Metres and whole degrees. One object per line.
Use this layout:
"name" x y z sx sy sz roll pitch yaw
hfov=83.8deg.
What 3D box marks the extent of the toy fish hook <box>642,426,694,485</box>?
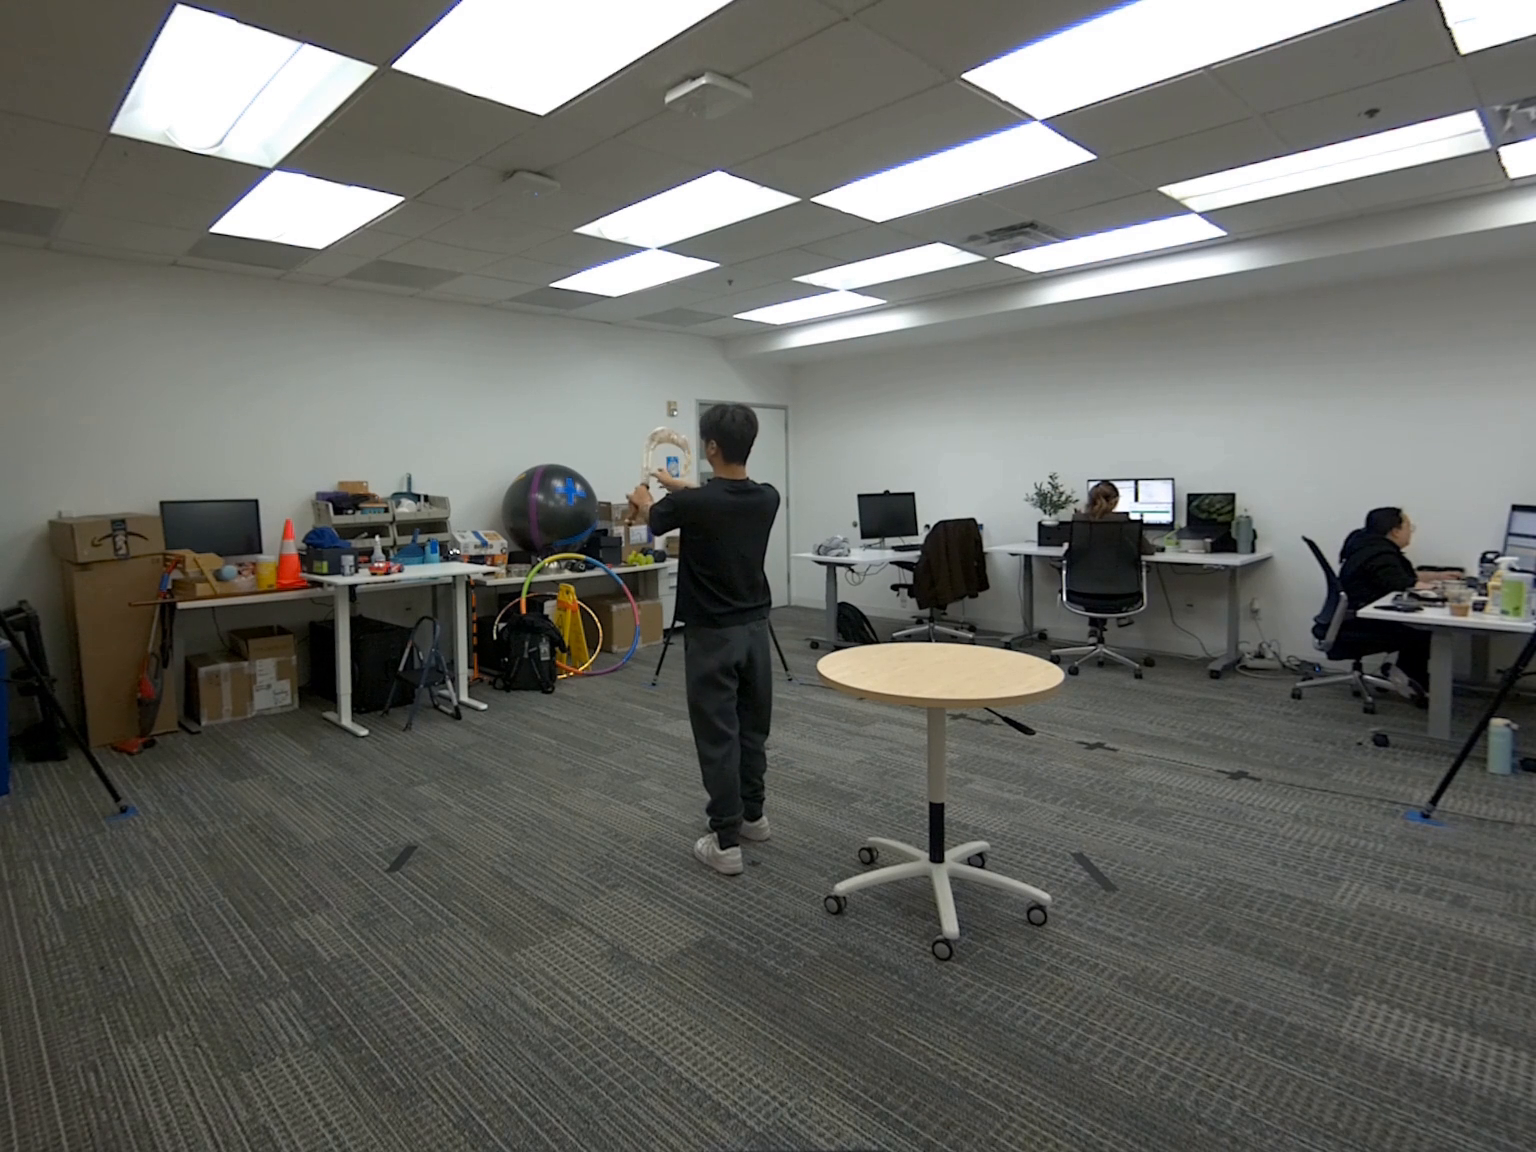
"toy fish hook" -0.457 -0.405 3.604 0.221 0.513 0.048 24 -25 -13
